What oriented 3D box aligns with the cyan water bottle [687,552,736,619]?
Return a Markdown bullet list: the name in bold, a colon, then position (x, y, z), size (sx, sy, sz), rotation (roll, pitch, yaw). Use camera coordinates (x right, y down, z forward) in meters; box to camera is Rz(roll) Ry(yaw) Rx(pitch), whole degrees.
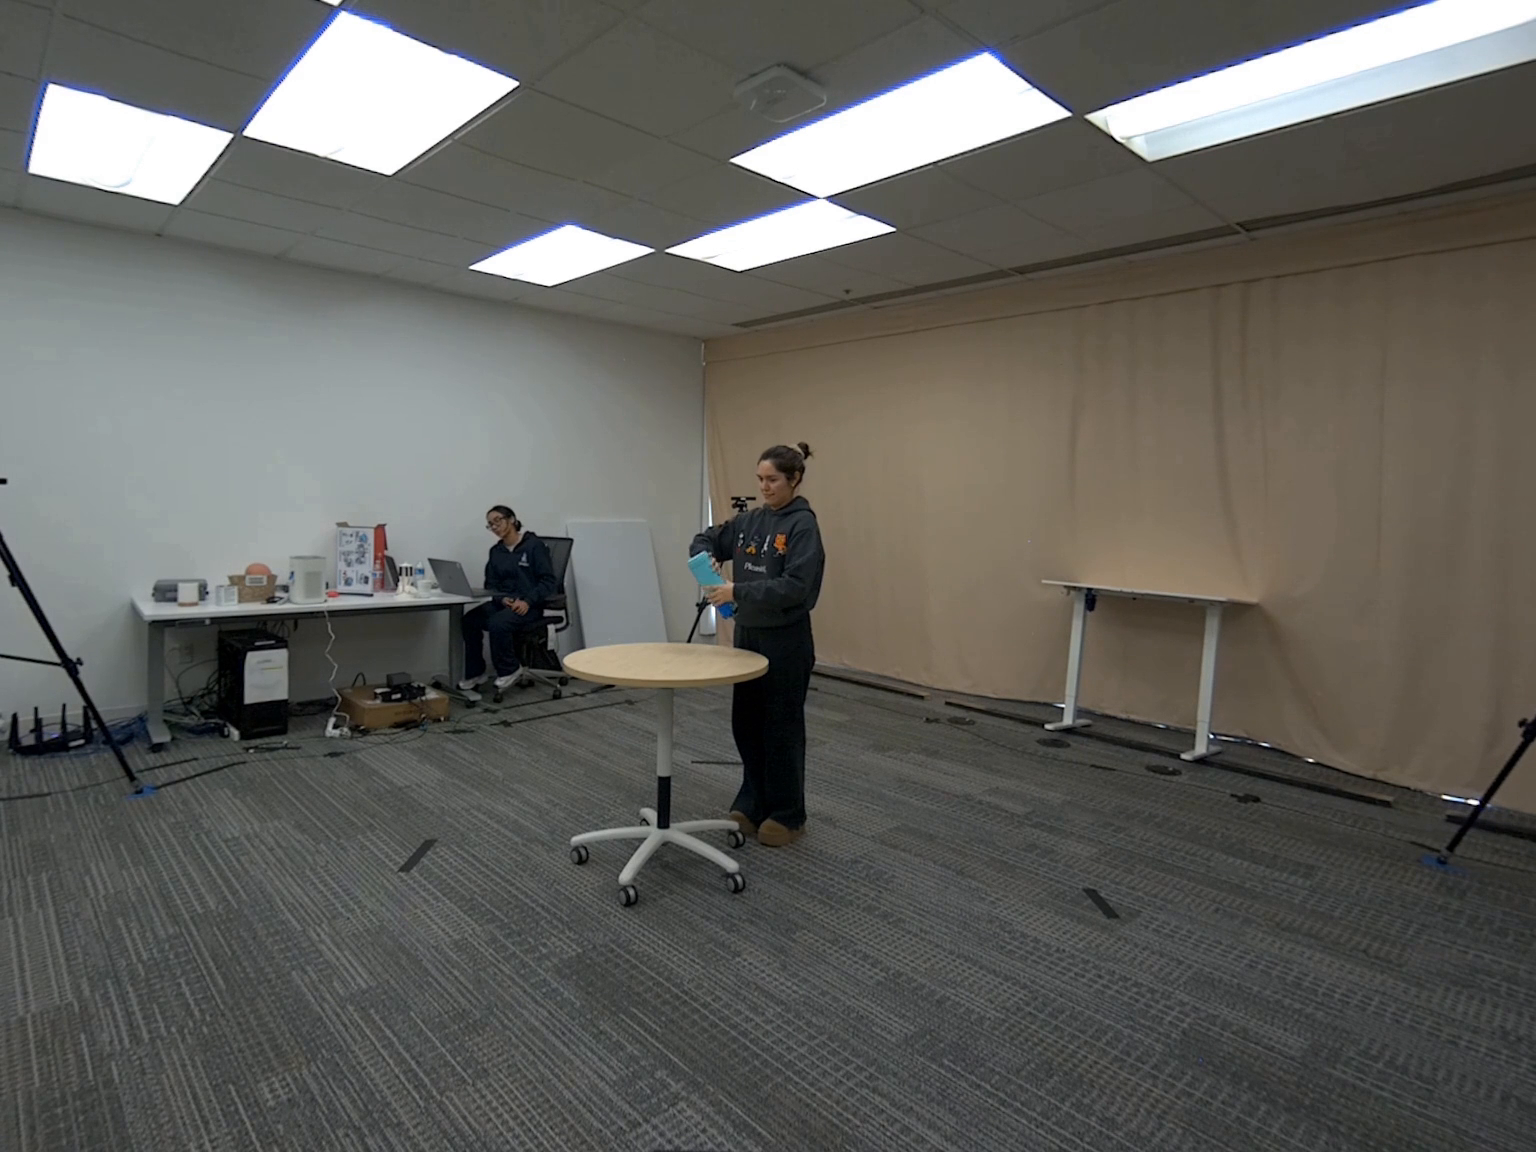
- **cyan water bottle**: position (-0.189, 0.054, 3.316), size (0.092, 0.281, 0.093), rotation (-31, 7, 4)
